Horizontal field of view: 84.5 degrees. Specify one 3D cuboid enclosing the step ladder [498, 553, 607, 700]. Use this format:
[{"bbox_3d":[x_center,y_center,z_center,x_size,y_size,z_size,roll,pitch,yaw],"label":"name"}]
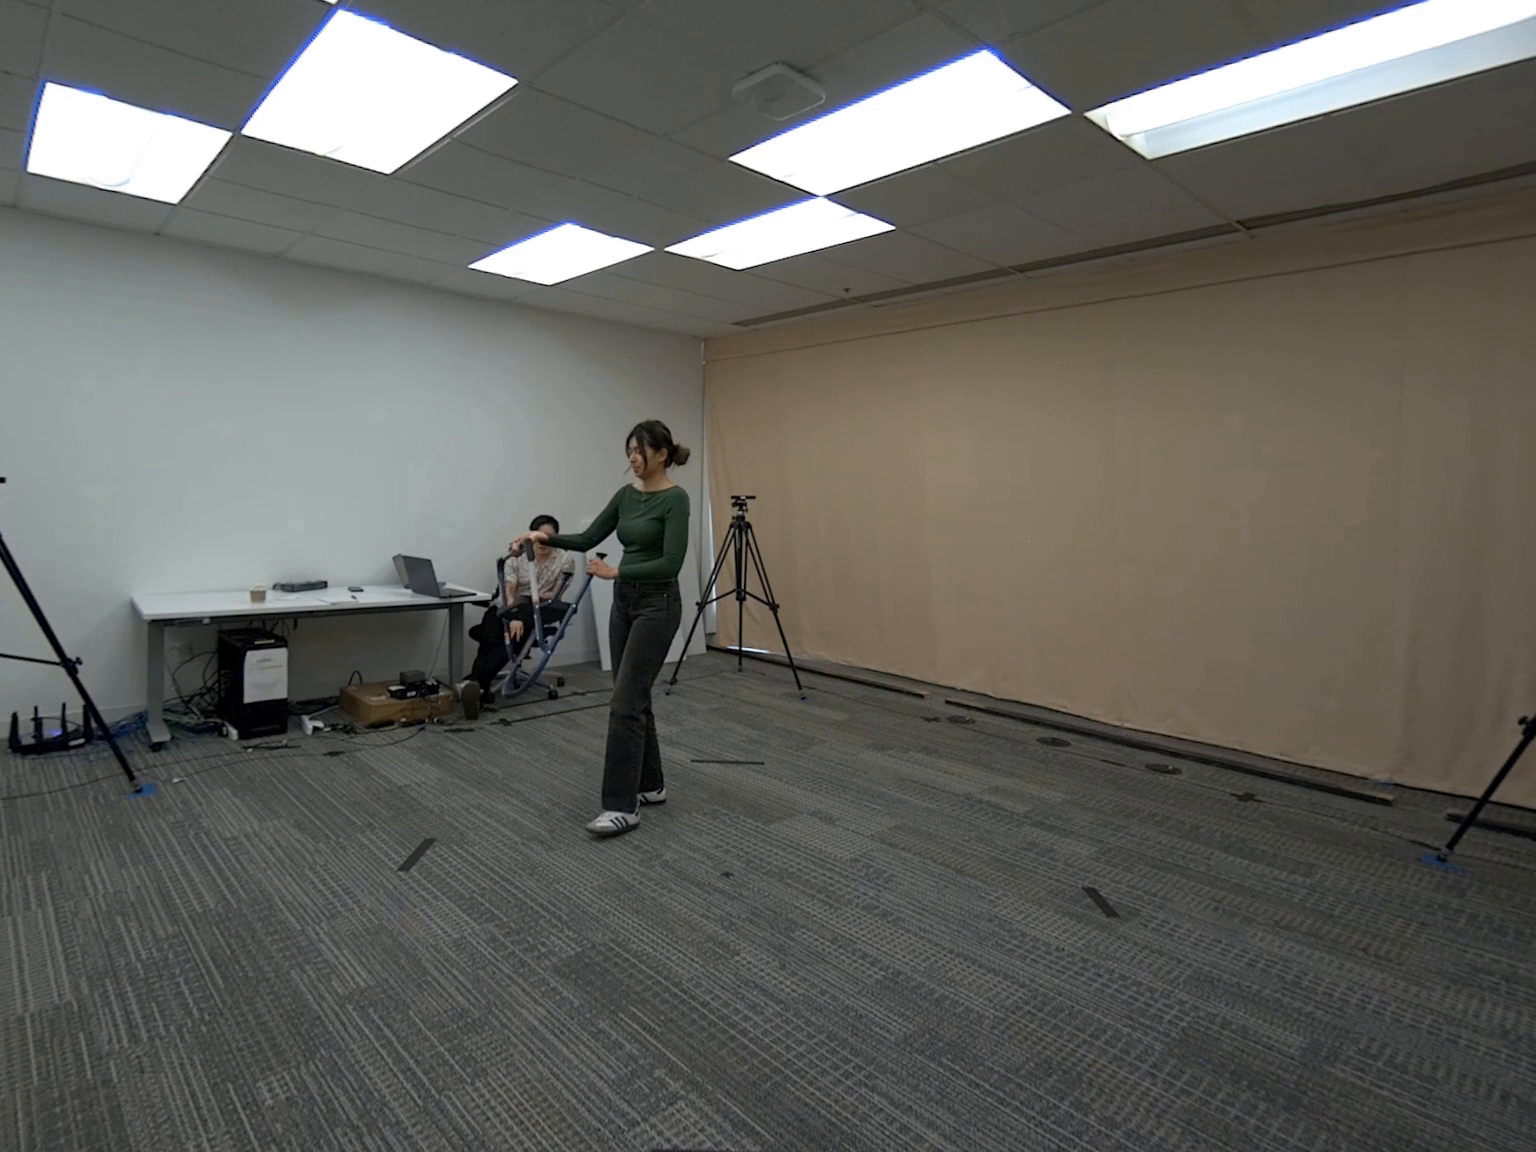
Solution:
[{"bbox_3d":[-0.946,0.207,3.498,0.341,0.613,0.436,15,-21,-30],"label":"step ladder"}]
